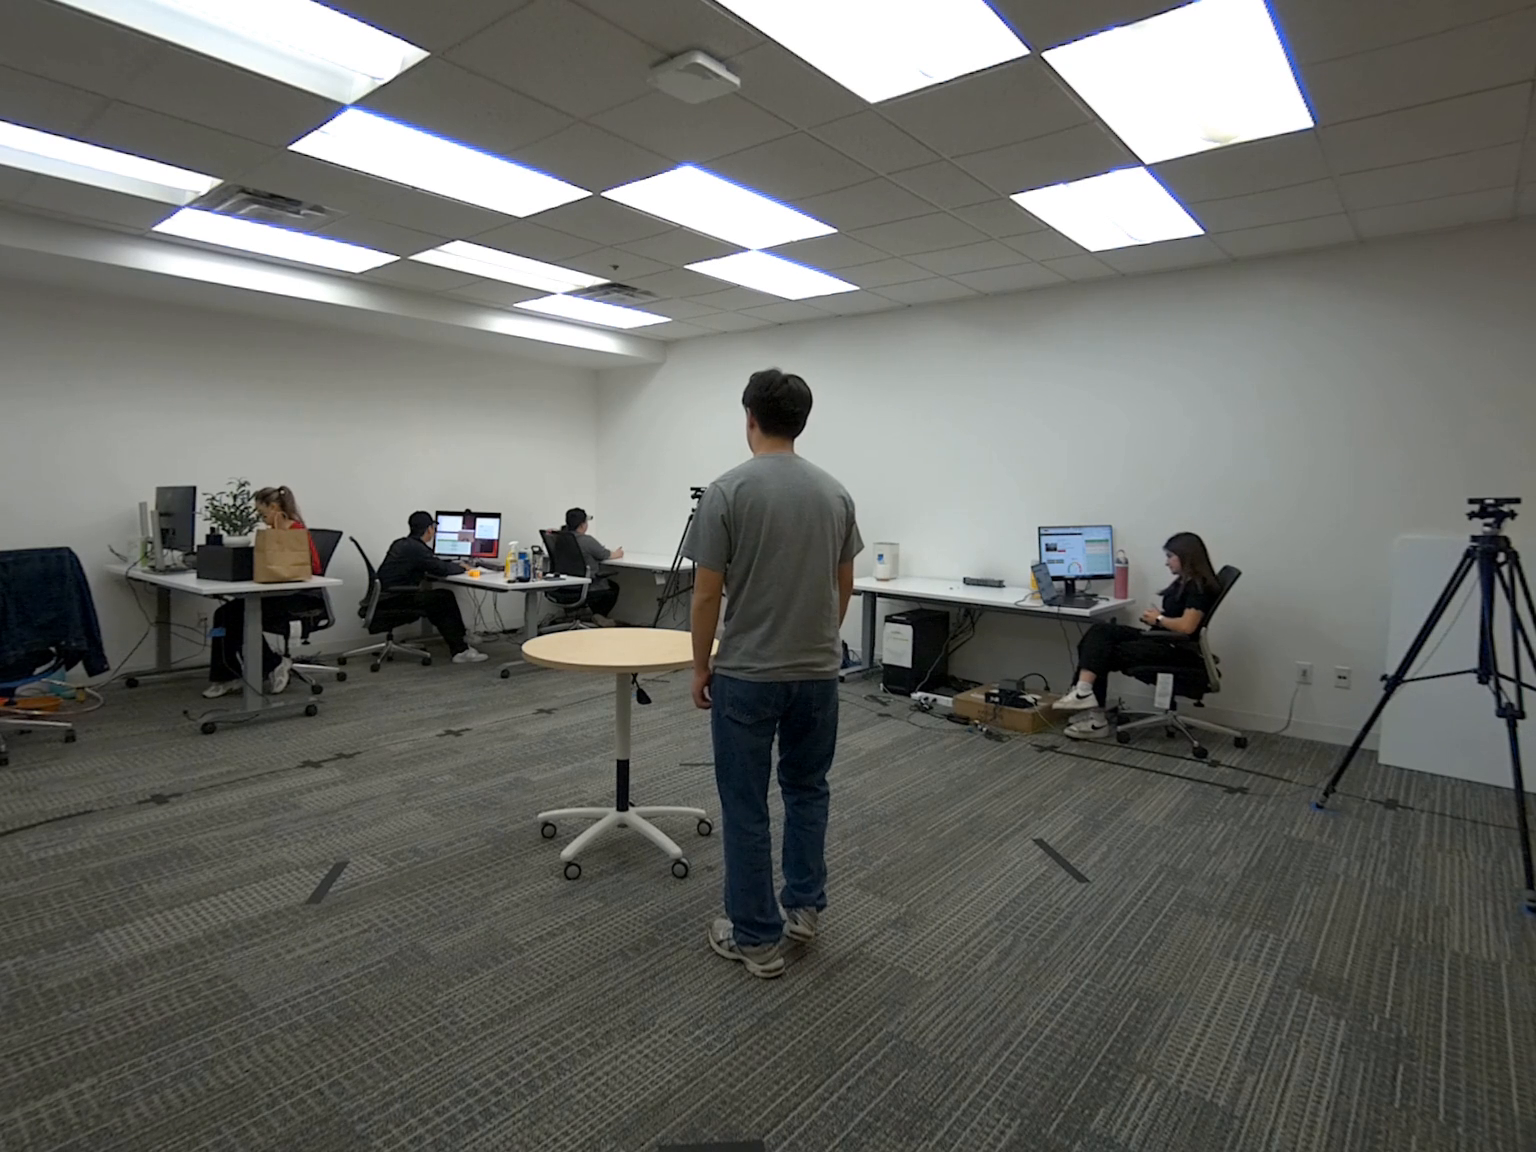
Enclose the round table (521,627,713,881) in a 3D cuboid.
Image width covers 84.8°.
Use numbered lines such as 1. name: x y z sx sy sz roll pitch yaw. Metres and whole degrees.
1. round table: -0.571 0.655 3.273 0.763 0.791 0.768 1 4 -2
